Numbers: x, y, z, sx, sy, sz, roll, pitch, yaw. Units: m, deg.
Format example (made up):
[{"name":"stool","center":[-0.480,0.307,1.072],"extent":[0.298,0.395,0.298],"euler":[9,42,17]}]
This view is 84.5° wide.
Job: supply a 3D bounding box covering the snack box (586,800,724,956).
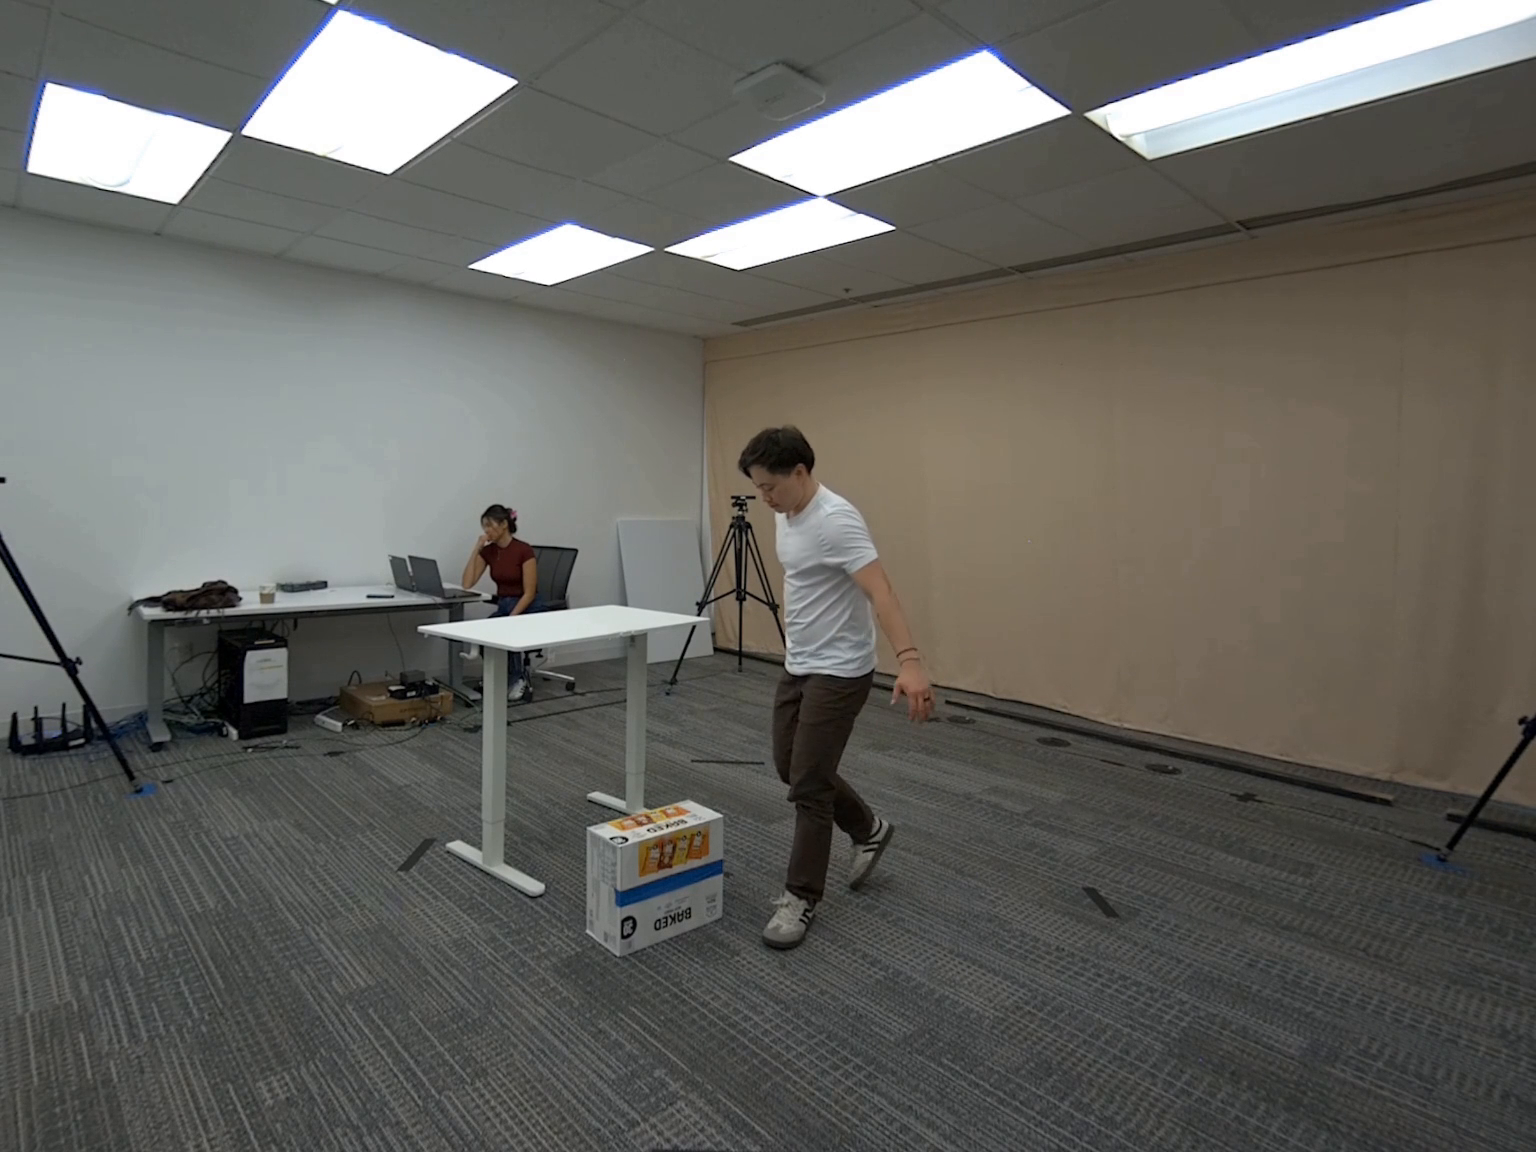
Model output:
[{"name":"snack box","center":[-0.373,0.967,2.720],"extent":[0.396,0.340,0.211],"euler":[-2,3,-41]}]
